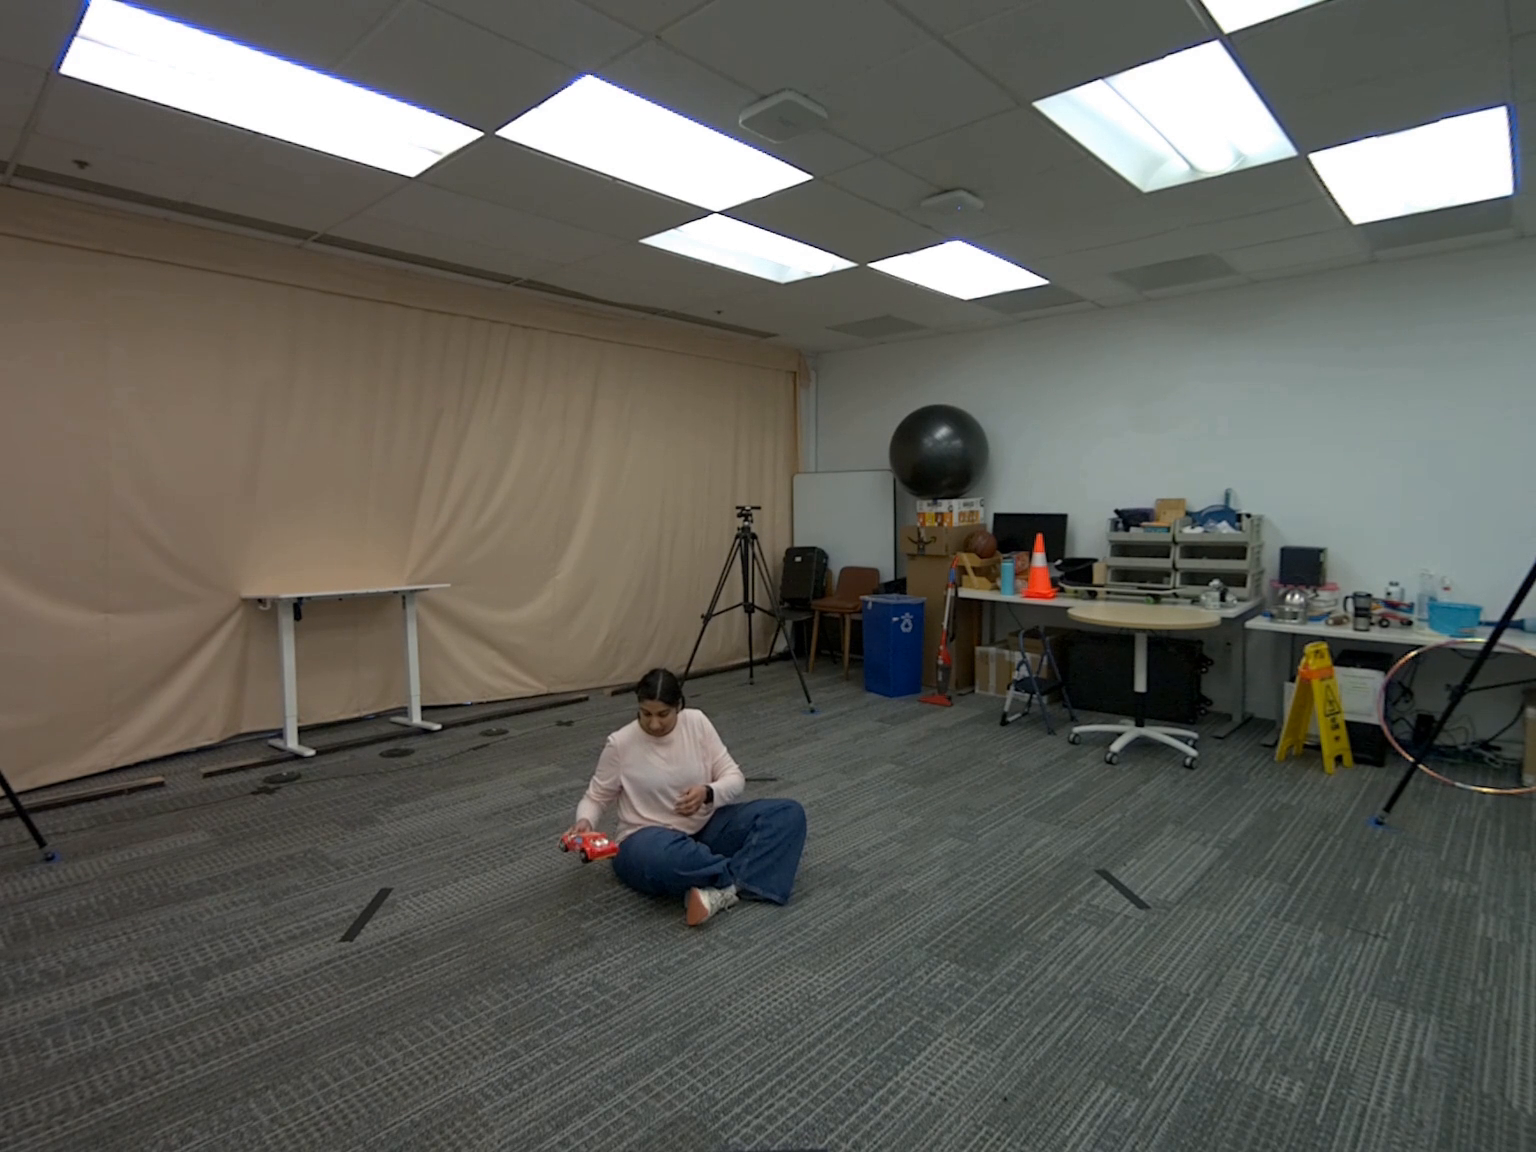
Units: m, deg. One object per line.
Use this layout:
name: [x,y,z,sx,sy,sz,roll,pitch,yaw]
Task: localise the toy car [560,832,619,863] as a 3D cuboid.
toy car: [-0.598,0.904,2.821,0.126,0.084,0.260,0,-11,-38]
